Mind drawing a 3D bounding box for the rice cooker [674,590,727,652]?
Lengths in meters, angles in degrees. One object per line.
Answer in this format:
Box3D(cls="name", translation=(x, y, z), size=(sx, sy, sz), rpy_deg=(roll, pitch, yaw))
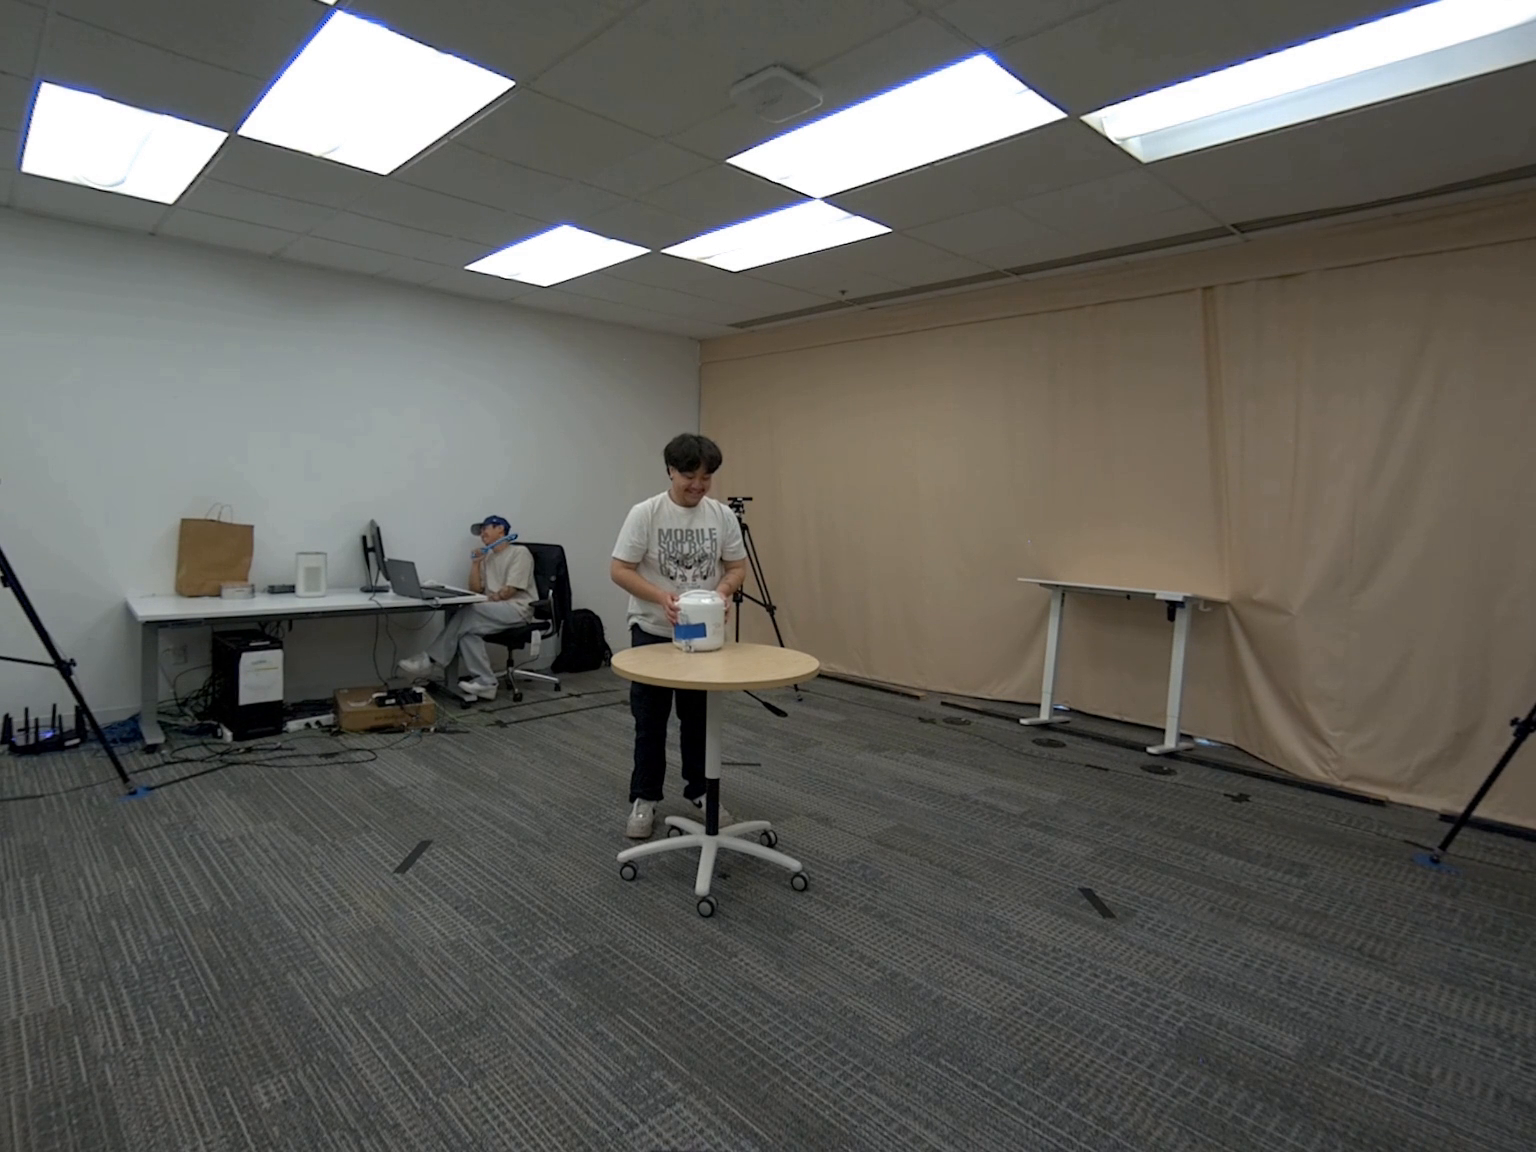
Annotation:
Box3D(cls="rice cooker", translation=(-0.287, 0.172, 3.326), size=(0.217, 0.232, 0.221), rpy_deg=(2, 4, -21))
